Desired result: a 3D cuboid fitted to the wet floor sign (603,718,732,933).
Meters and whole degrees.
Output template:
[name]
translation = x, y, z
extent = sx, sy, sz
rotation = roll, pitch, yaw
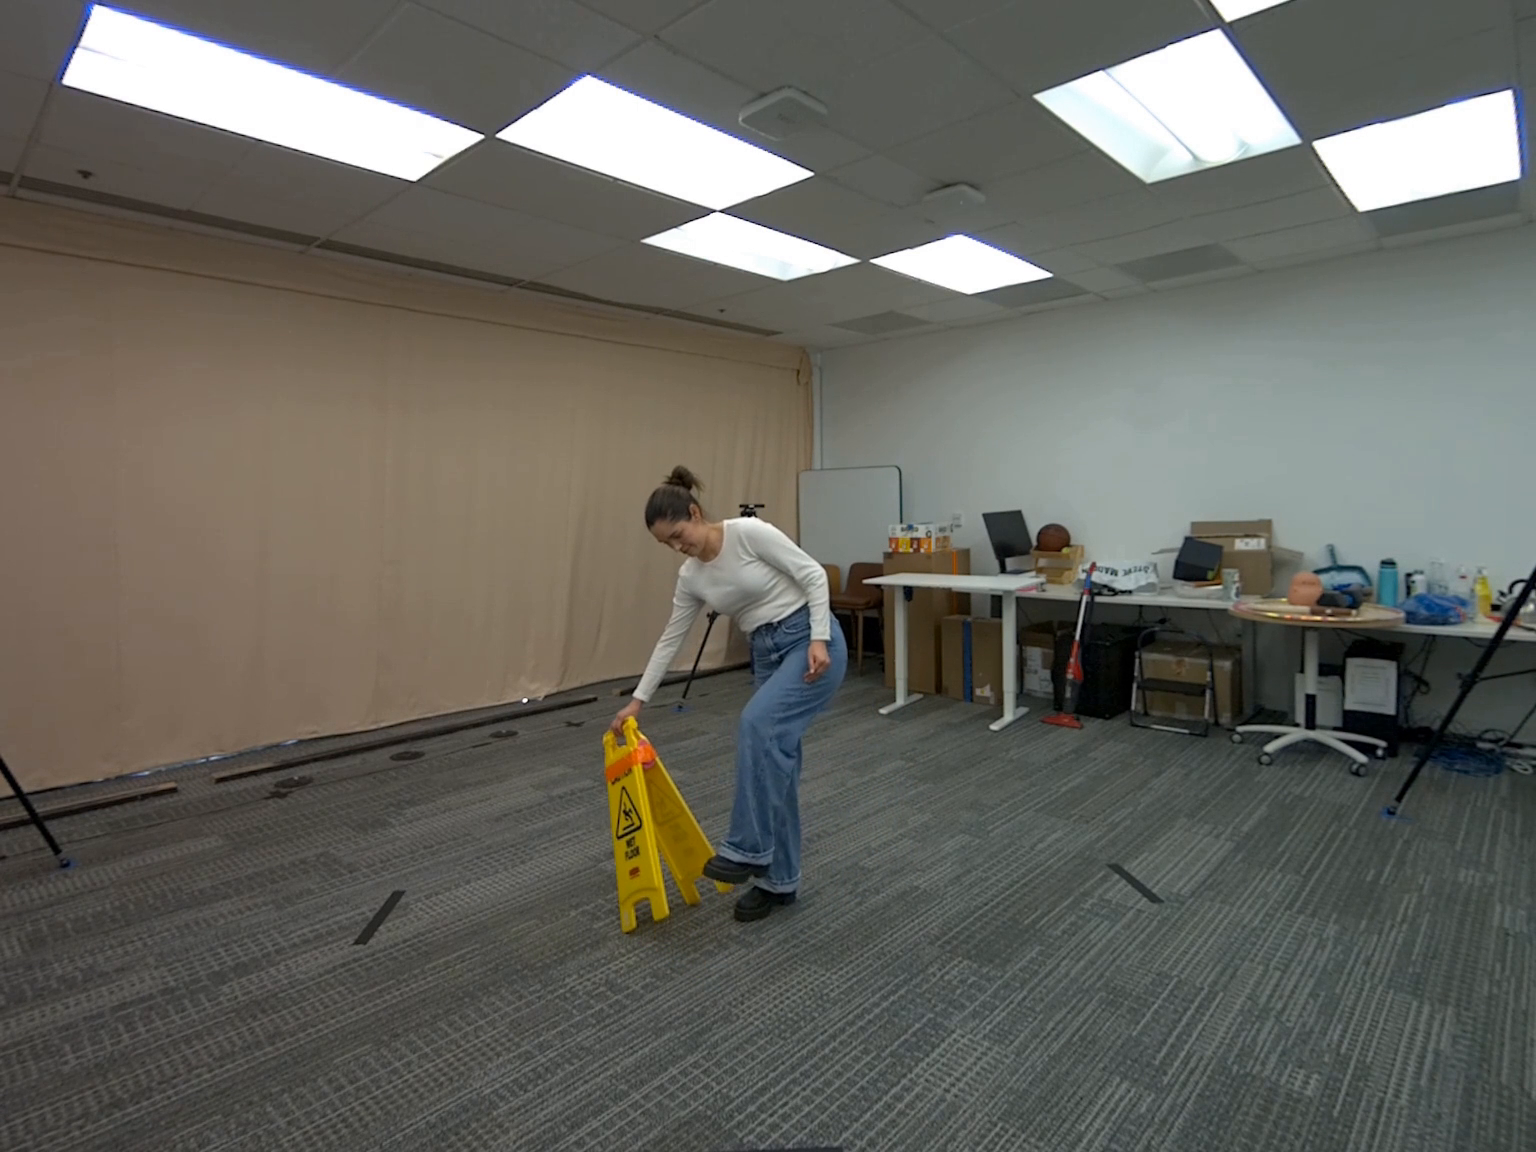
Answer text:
[wet floor sign]
translation = -0.405, 0.817, 2.874
extent = 0.281, 0.658, 0.286
rotation = -4, -26, -43
